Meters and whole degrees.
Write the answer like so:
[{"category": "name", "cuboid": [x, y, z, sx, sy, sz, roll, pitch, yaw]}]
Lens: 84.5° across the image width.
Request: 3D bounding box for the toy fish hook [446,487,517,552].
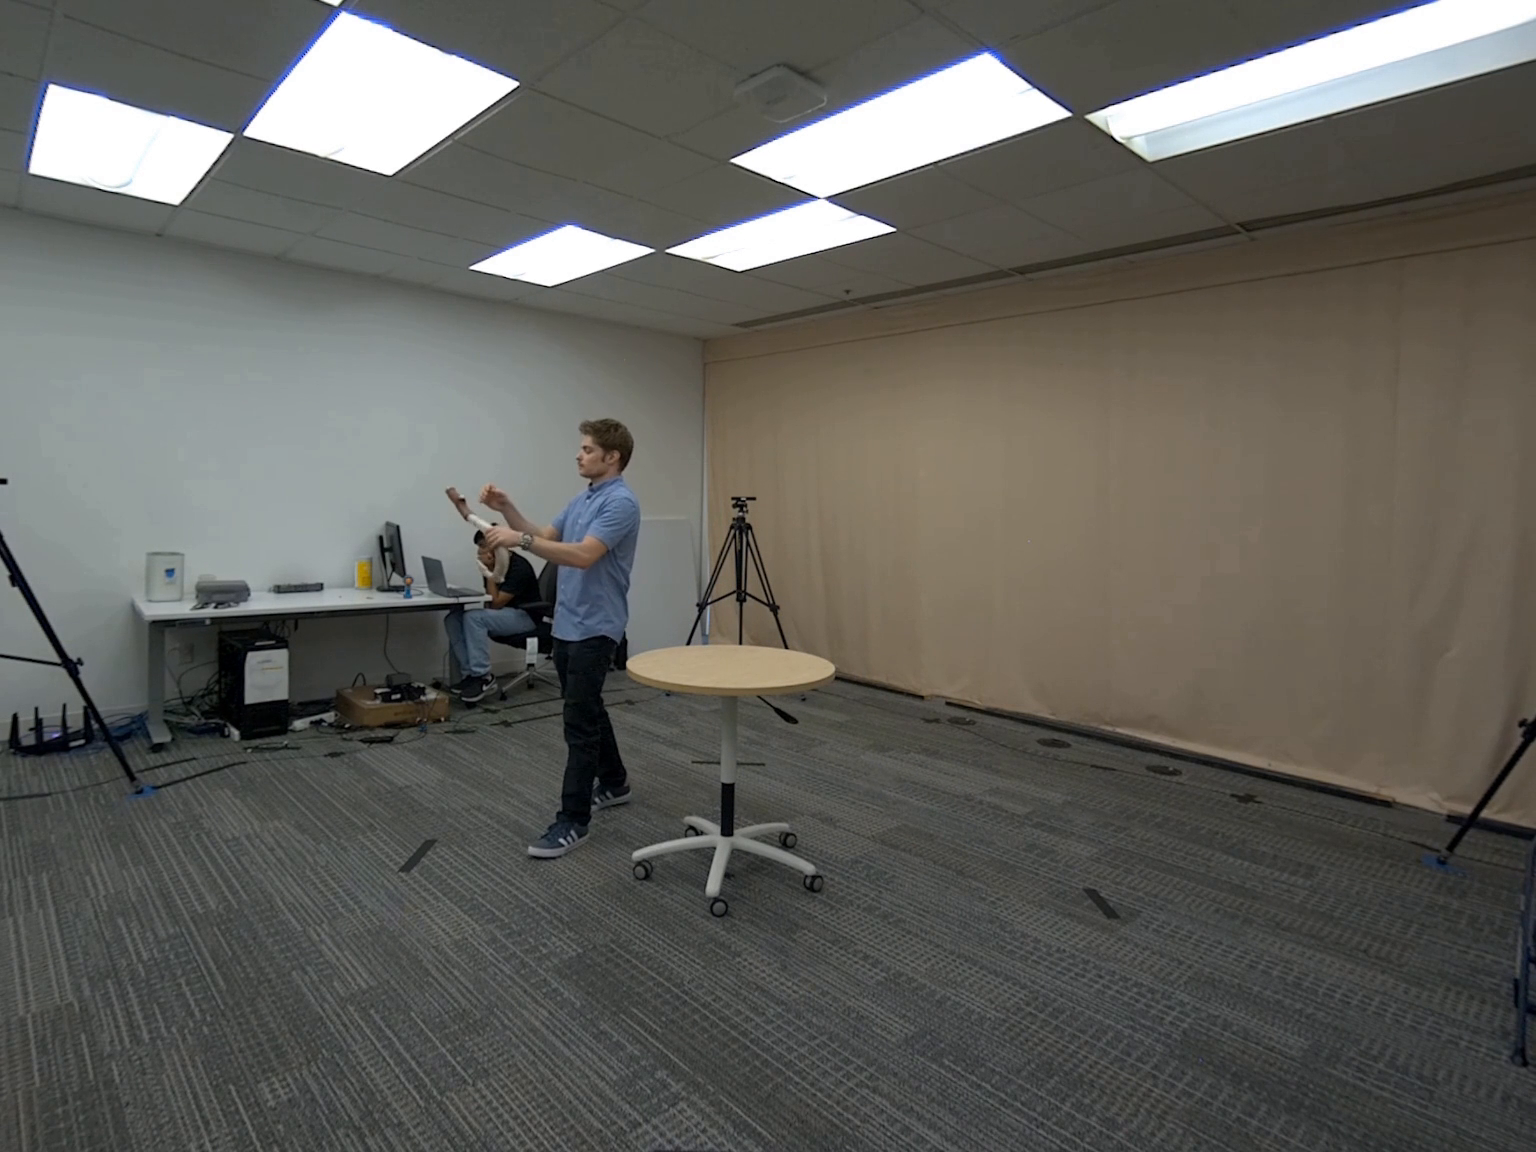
[{"category": "toy fish hook", "cuboid": [-1.177, -0.164, 3.347, 0.047, 0.222, 0.522, -10, 45, -41]}]
